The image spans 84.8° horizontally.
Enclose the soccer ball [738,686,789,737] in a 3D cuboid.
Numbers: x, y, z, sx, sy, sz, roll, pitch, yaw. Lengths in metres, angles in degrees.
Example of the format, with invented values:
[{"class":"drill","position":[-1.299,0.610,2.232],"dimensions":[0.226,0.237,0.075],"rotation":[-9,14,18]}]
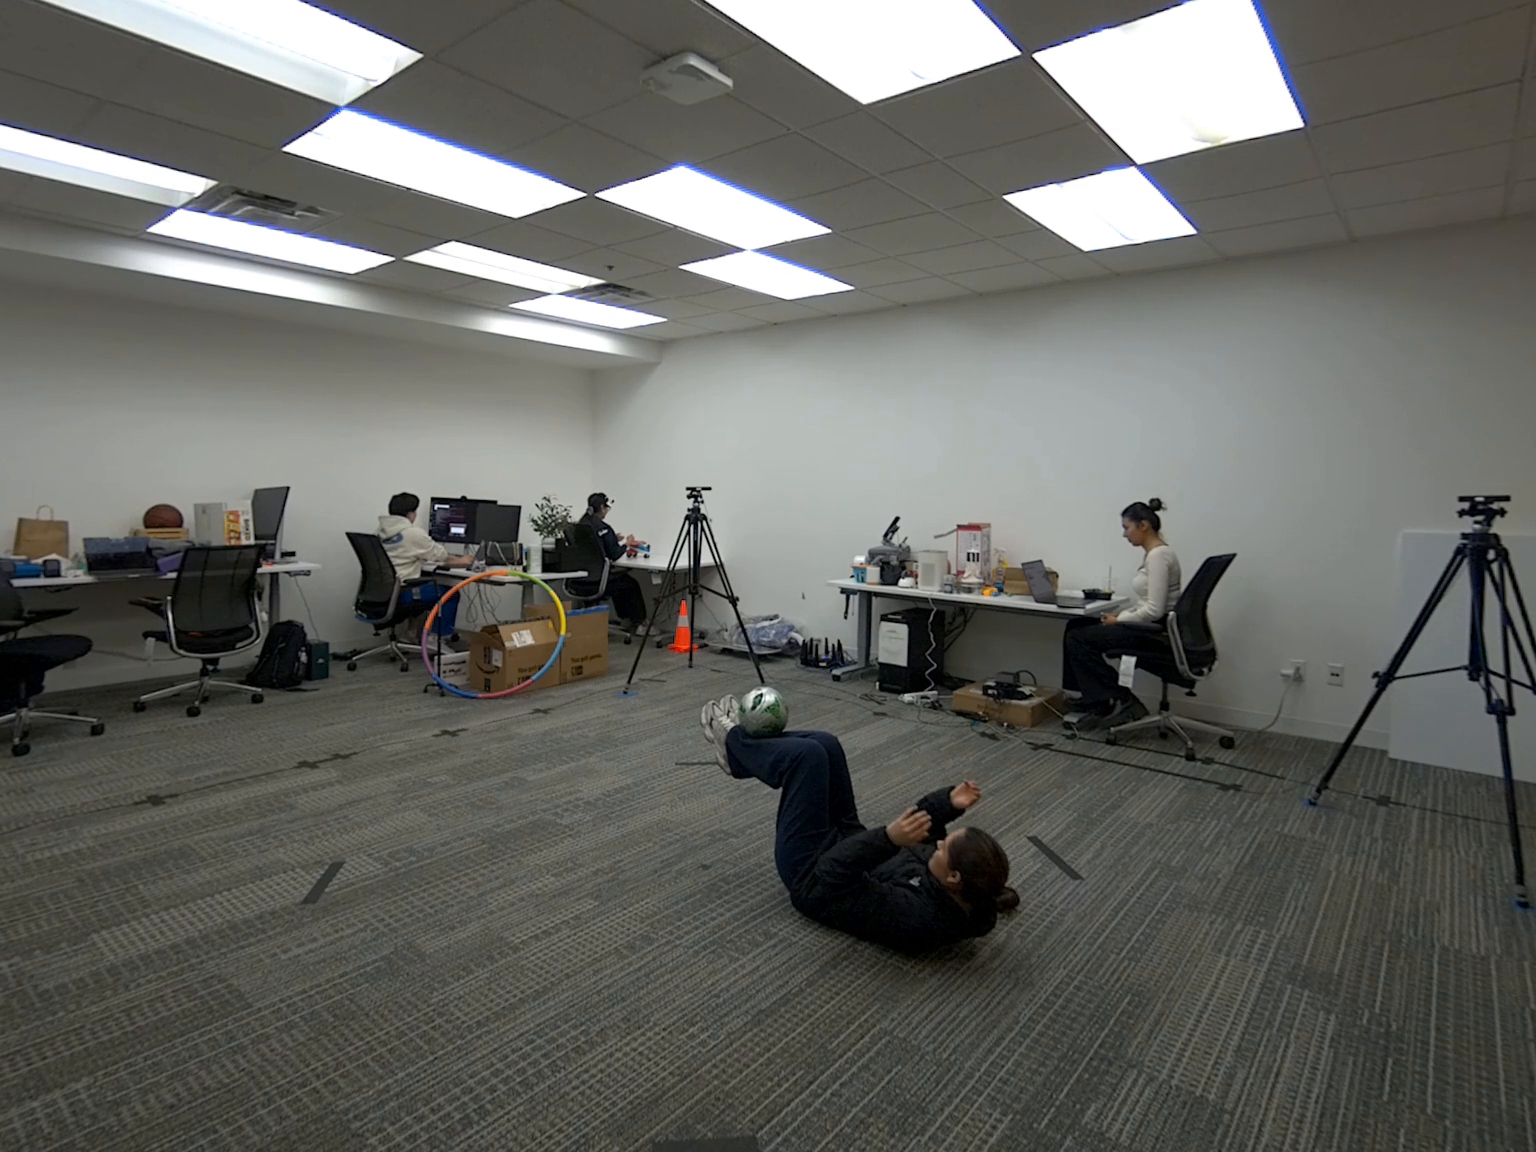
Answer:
[{"class":"soccer ball","position":[-0.027,0.496,3.098],"dimensions":[0.187,0.187,0.188],"rotation":[-3,3,-2]}]
